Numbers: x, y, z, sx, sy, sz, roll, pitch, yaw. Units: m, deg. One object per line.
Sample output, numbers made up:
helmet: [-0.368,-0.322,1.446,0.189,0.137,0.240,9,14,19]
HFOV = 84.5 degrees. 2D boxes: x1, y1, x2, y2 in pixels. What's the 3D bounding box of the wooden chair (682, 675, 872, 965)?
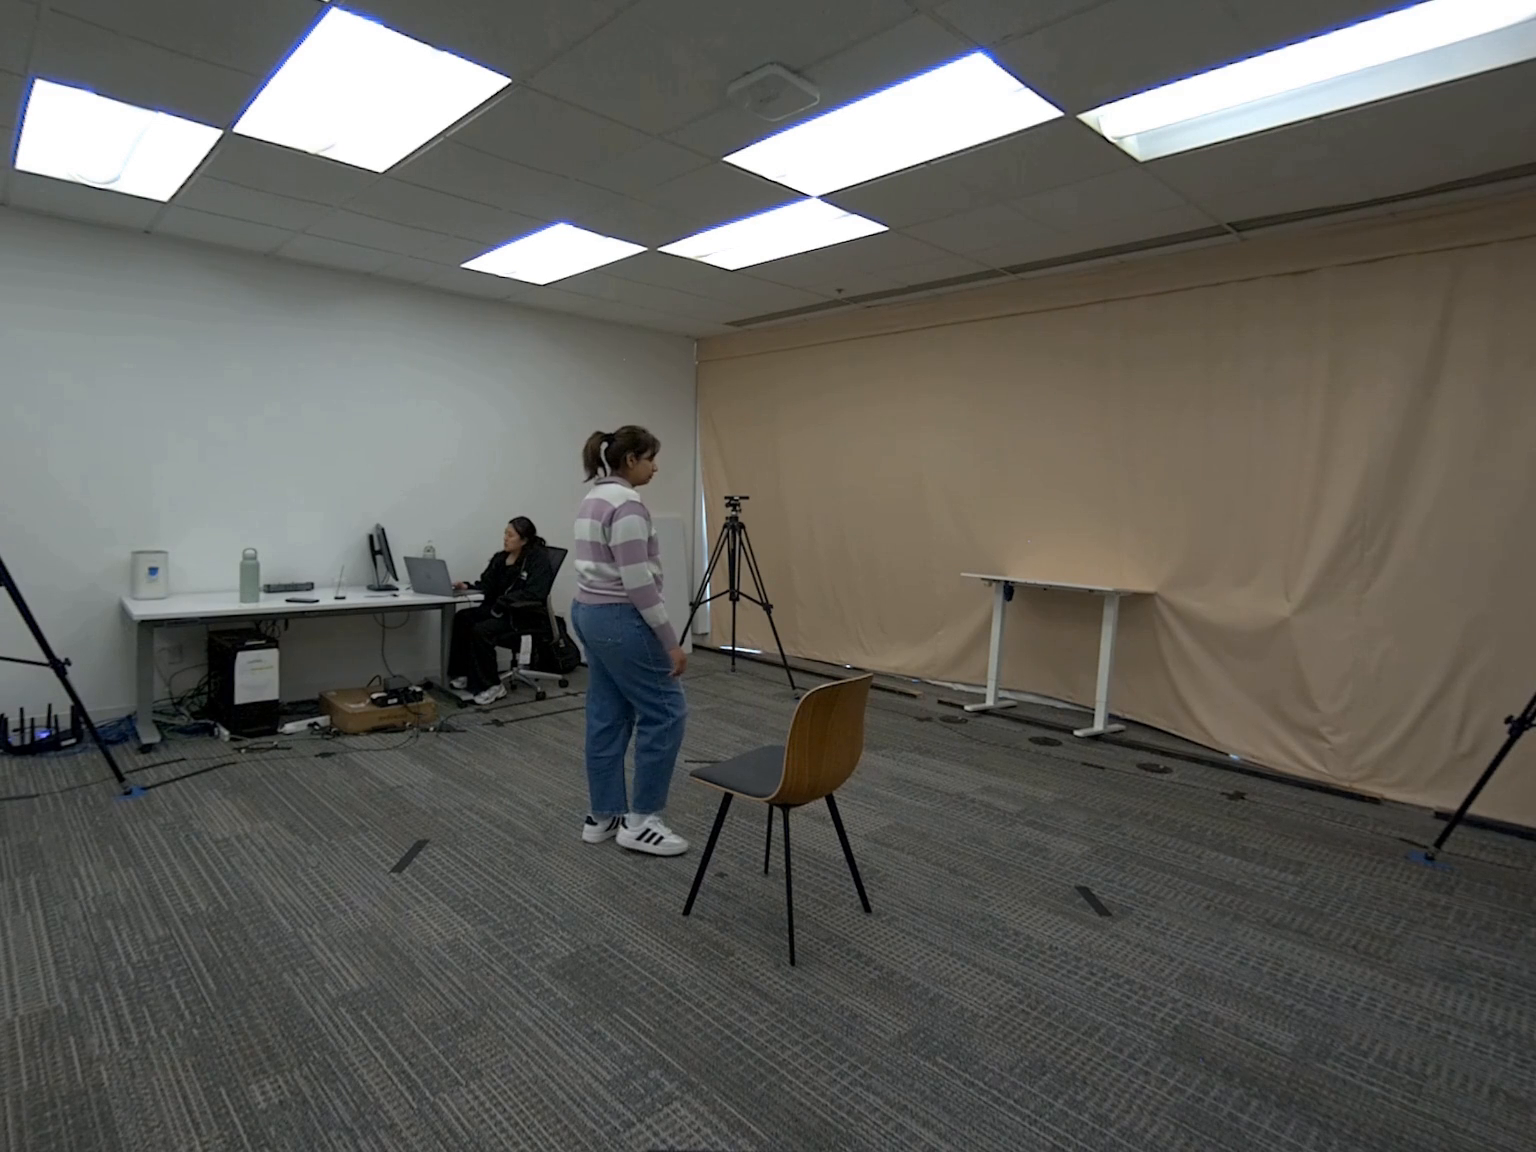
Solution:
wooden chair: [0.032,0.708,2.796,0.537,0.873,0.467,10,8,39]
